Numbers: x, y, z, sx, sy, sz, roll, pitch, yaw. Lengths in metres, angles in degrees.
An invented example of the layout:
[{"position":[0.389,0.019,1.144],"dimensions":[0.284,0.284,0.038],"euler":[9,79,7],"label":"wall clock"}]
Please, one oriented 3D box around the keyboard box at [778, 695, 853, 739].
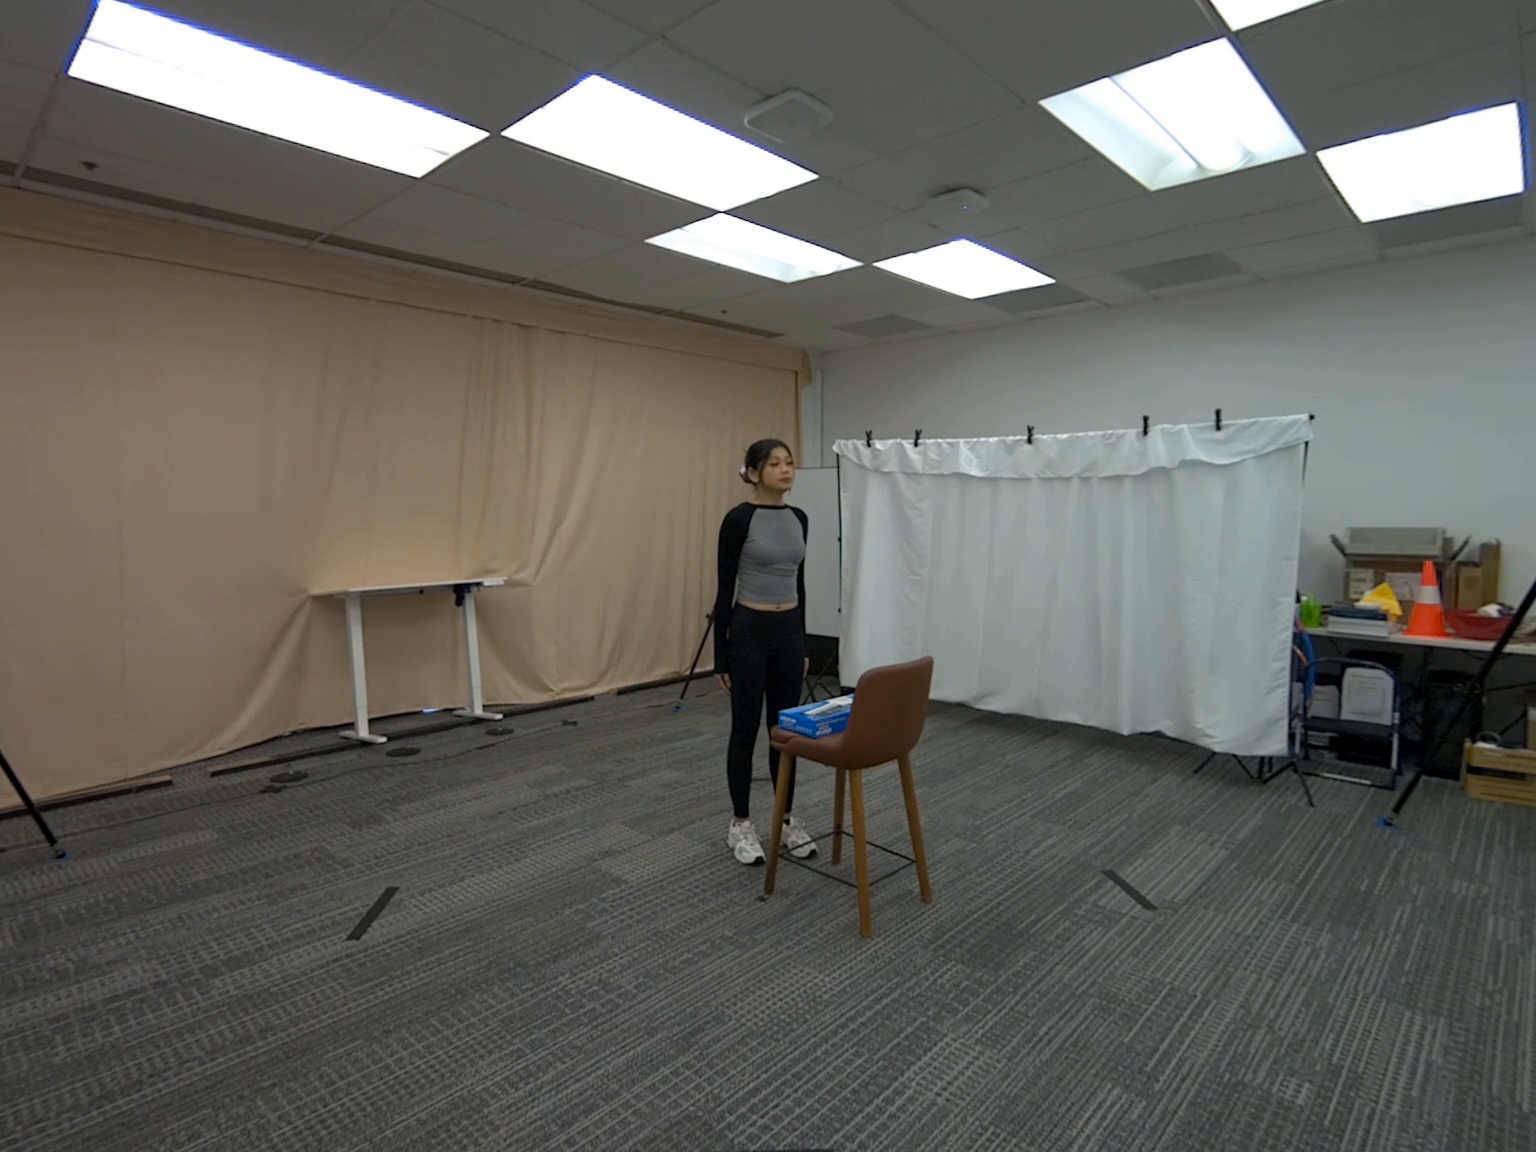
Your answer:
[{"position":[0.255,0.495,3.029],"dimensions":[0.423,0.059,0.182],"euler":[-4,6,-43],"label":"keyboard box"}]
